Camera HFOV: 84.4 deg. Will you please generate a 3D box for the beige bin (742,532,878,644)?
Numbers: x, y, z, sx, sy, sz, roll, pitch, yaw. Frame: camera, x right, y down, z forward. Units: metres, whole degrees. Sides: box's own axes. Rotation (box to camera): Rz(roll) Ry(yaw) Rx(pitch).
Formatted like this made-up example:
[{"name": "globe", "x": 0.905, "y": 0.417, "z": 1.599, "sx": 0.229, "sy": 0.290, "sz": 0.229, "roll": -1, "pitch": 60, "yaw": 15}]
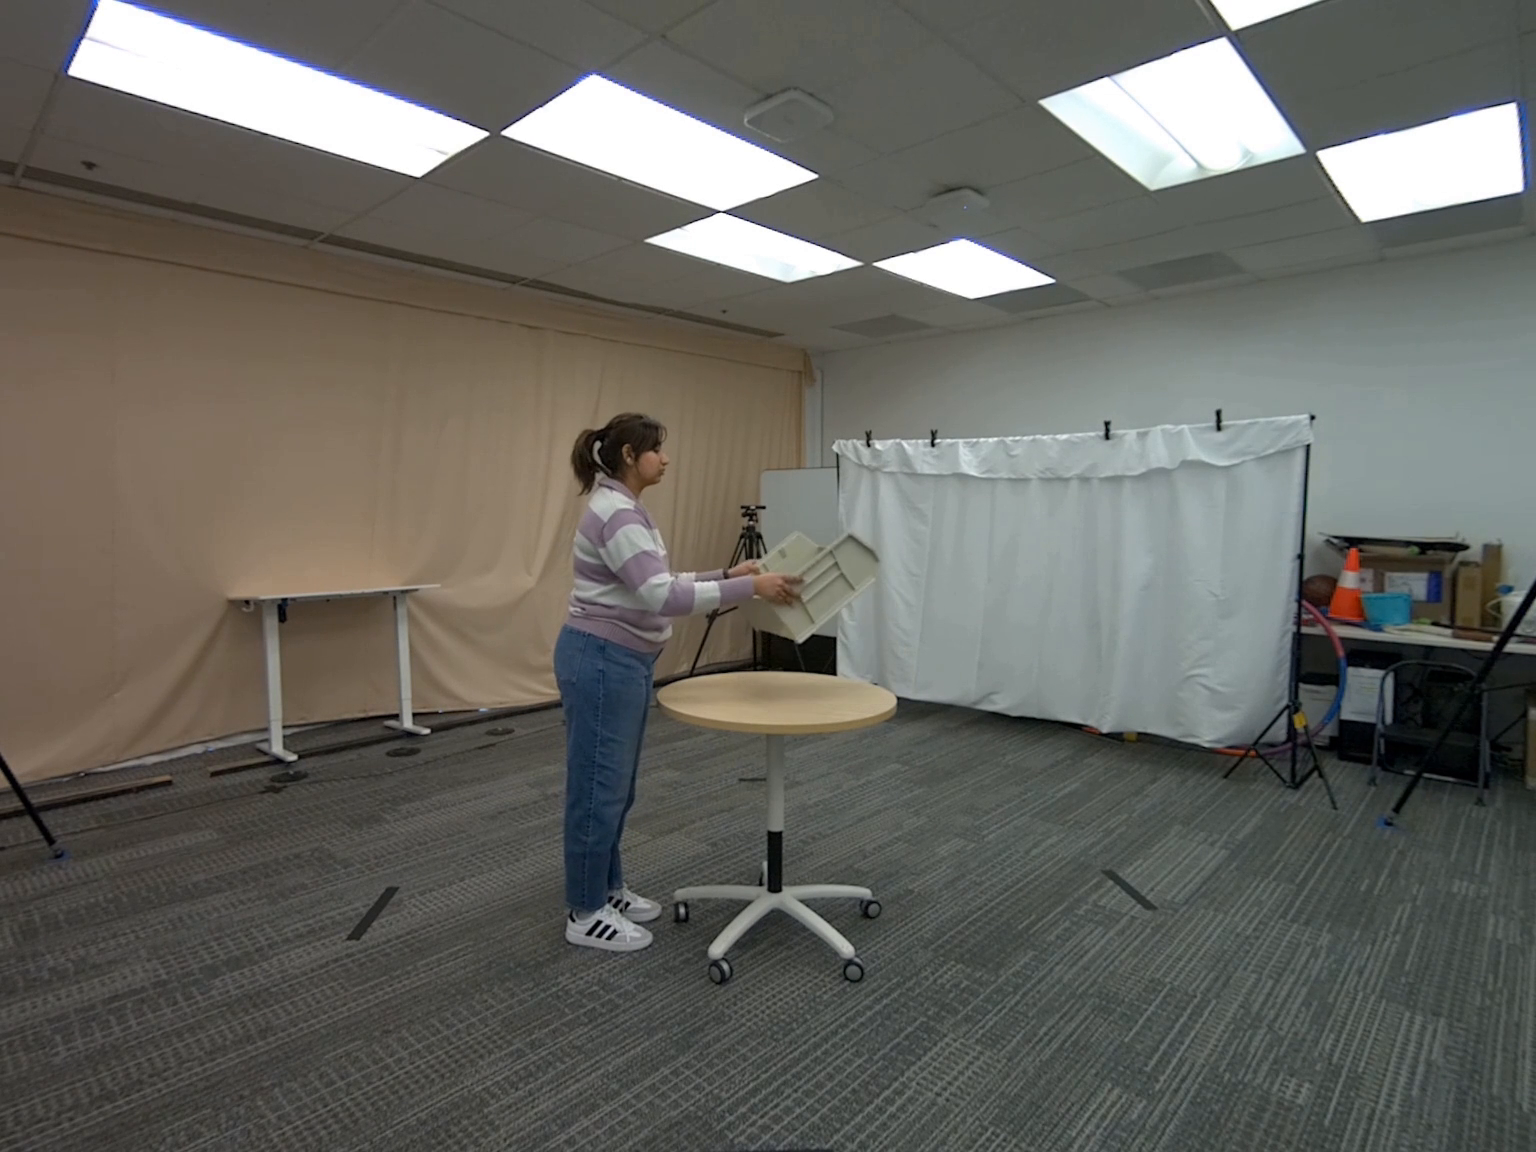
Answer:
[{"name": "beige bin", "x": 0.111, "y": 0.020, "z": 2.720, "sx": 0.375, "sy": 0.186, "sz": 0.431, "roll": -39, "pitch": 15, "yaw": -14}]
